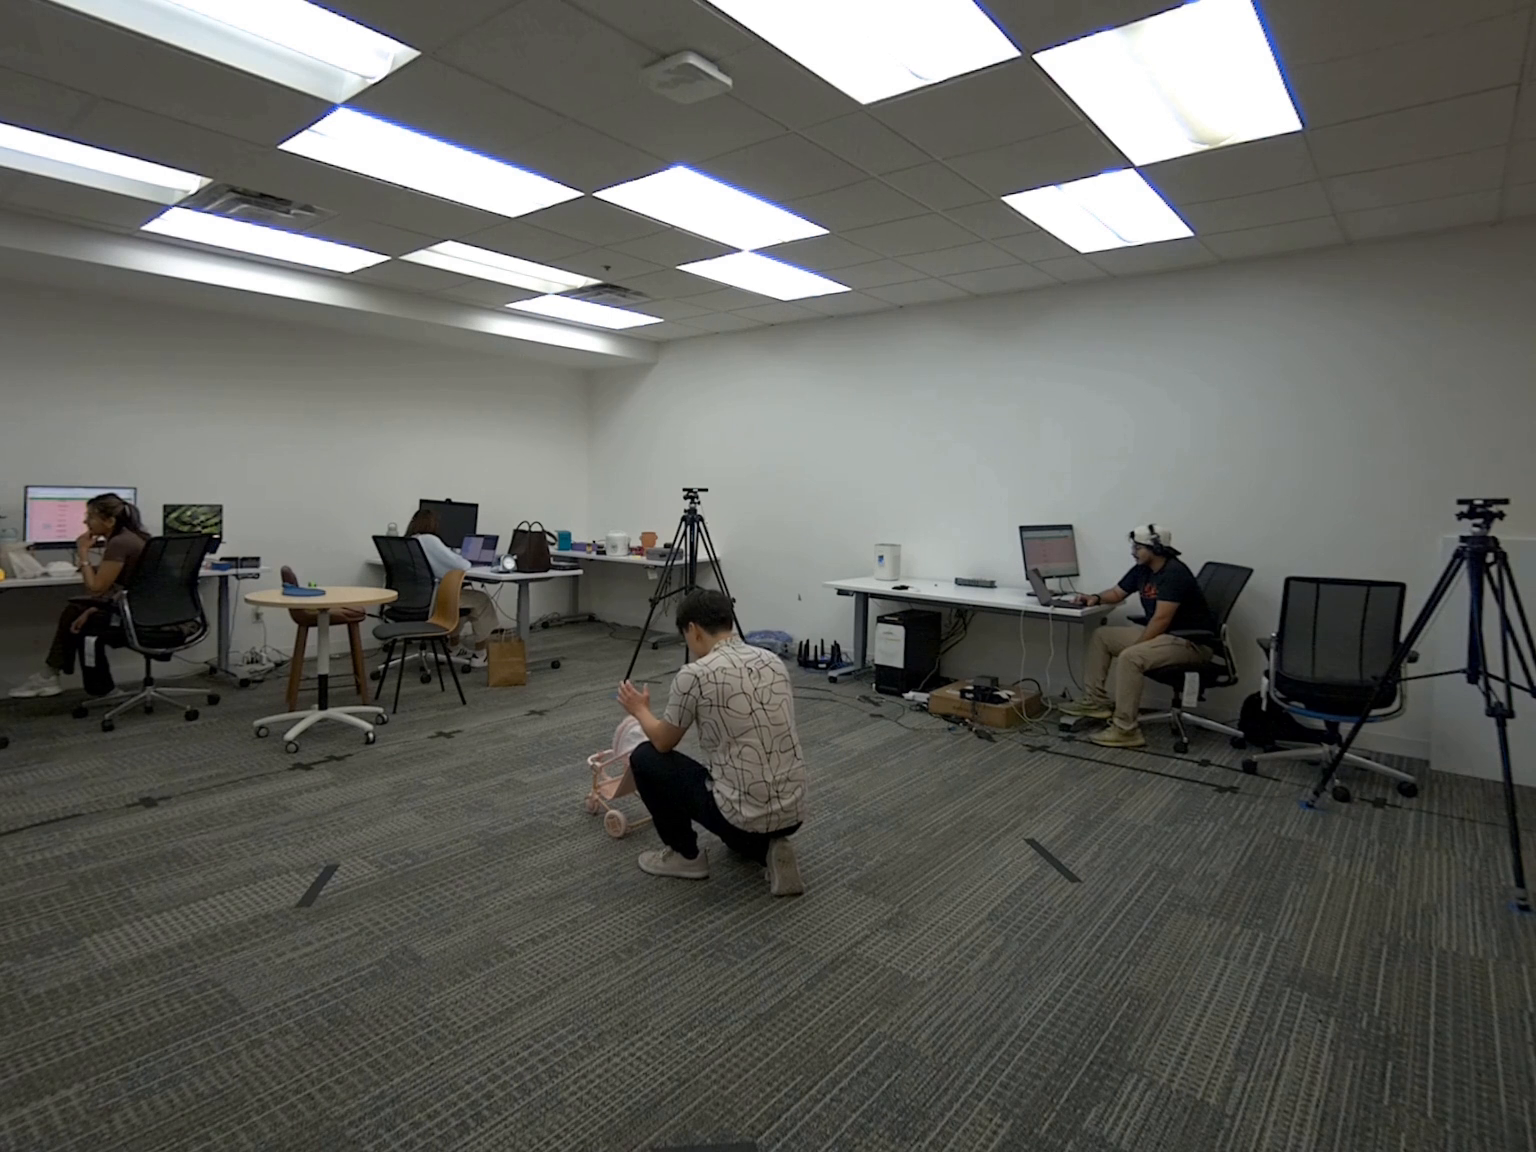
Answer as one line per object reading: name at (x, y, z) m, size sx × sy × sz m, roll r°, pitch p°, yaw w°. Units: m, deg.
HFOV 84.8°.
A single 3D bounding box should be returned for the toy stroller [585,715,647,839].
toy stroller at (-0.594, 0.800, 3.507) m, size 0.355 × 0.530 × 0.273 m, roll 26°, pitch 16°, yaw 36°
